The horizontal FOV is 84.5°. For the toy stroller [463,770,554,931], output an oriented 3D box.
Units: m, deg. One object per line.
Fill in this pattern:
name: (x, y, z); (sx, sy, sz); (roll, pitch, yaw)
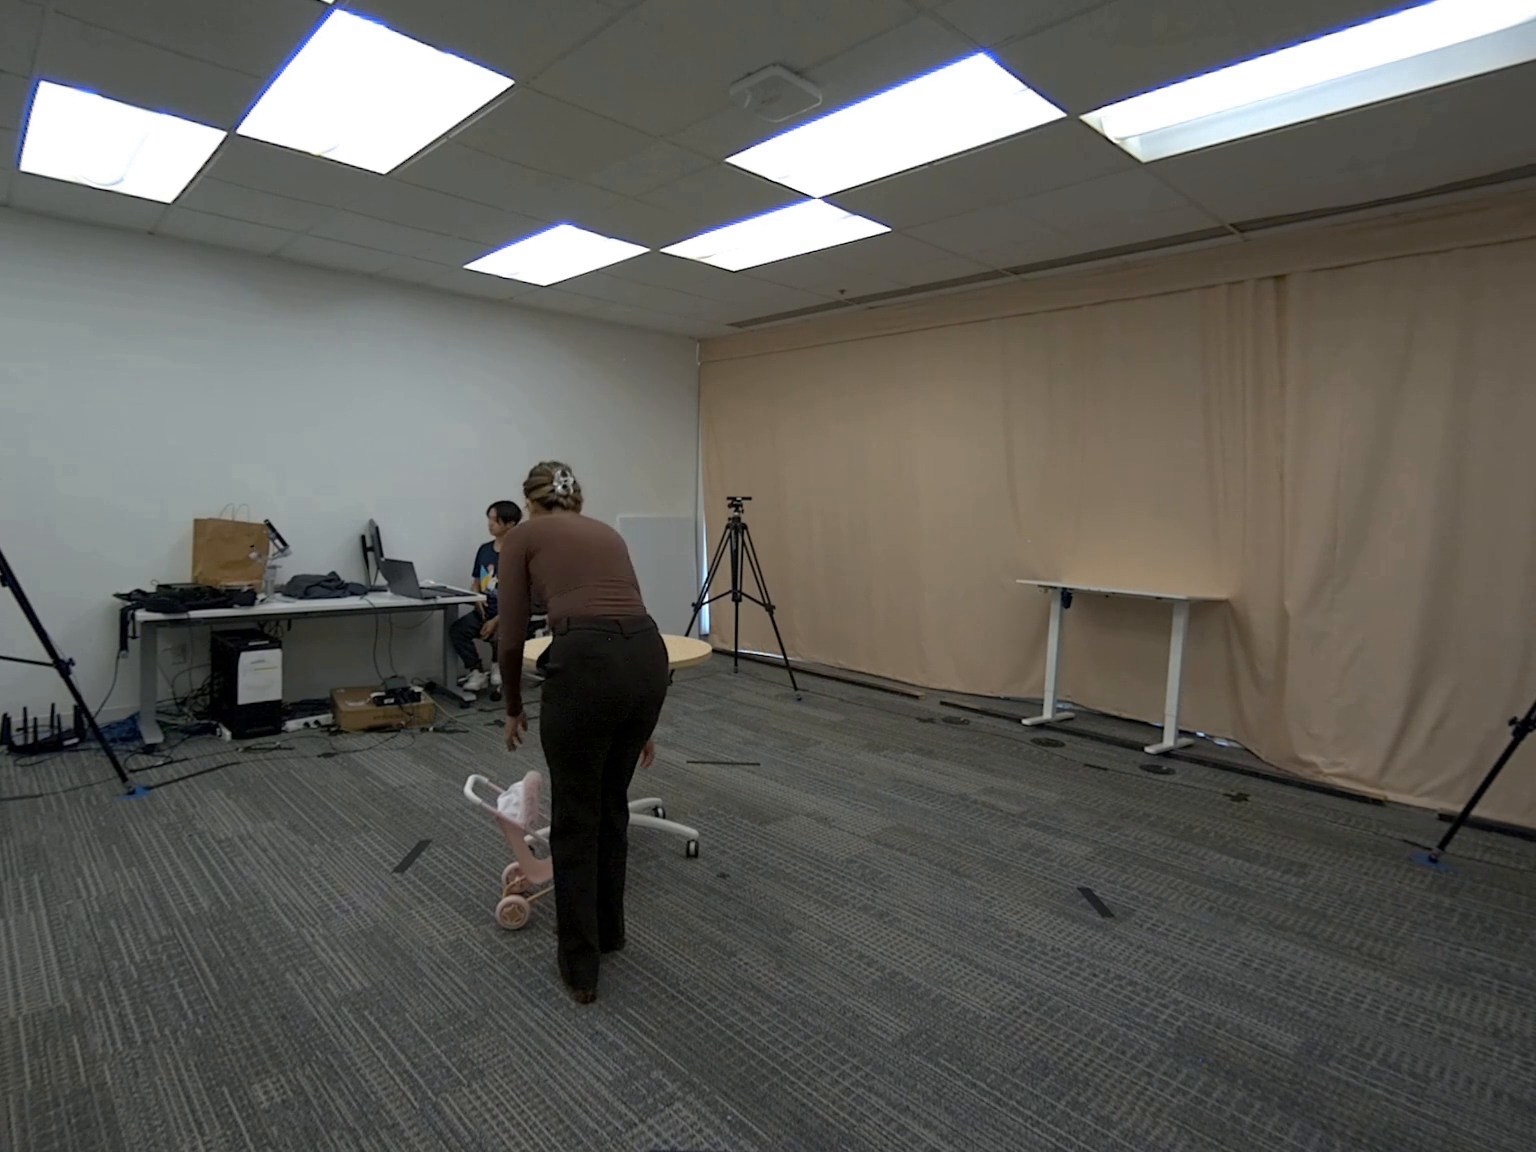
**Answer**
toy stroller: (-0.777, 0.890, 2.807); (0.340, 0.532, 0.284); (-14, 6, -6)
